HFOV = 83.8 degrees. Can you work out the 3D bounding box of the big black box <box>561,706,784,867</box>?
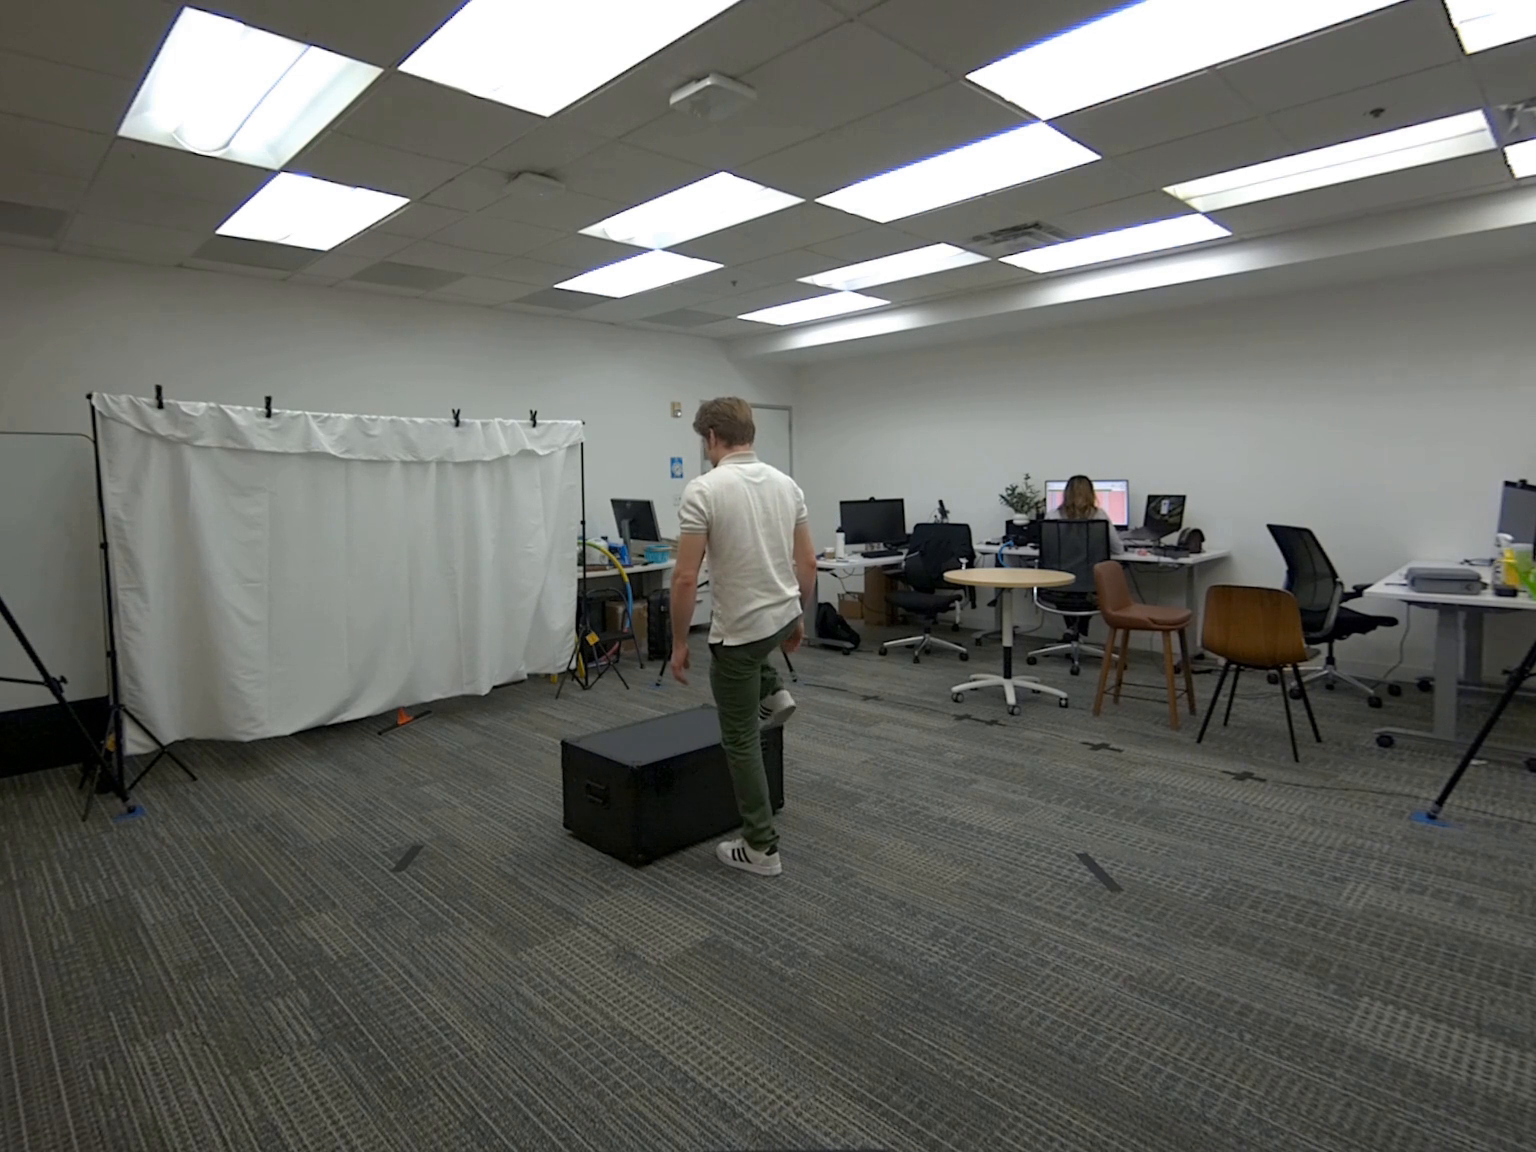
[{"bbox_3d":[-0.346,0.813,3.507,0.845,0.384,0.539,-6,6,-44],"label":"big black box"}]
